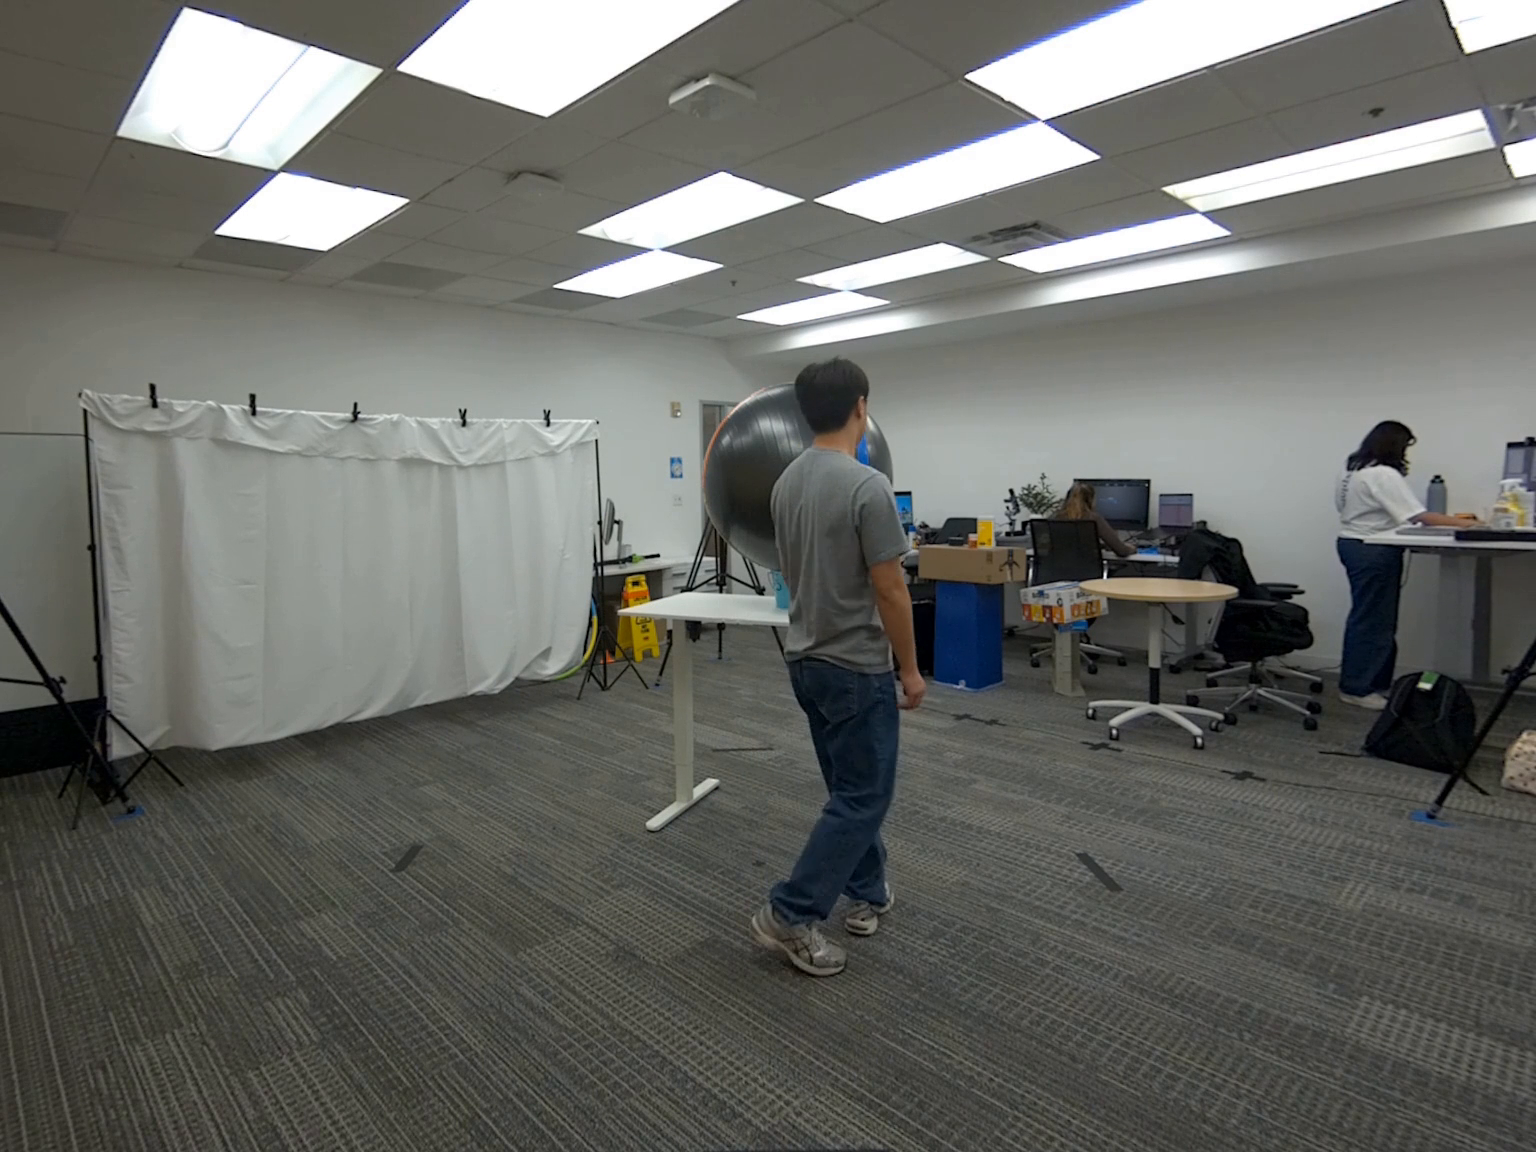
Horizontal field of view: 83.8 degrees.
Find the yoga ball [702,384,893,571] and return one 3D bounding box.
[{"bbox_3d":[0.112,-0.387,3.432,0.757,0.755,0.762,-1,5,-2],"label":"yoga ball"}]
